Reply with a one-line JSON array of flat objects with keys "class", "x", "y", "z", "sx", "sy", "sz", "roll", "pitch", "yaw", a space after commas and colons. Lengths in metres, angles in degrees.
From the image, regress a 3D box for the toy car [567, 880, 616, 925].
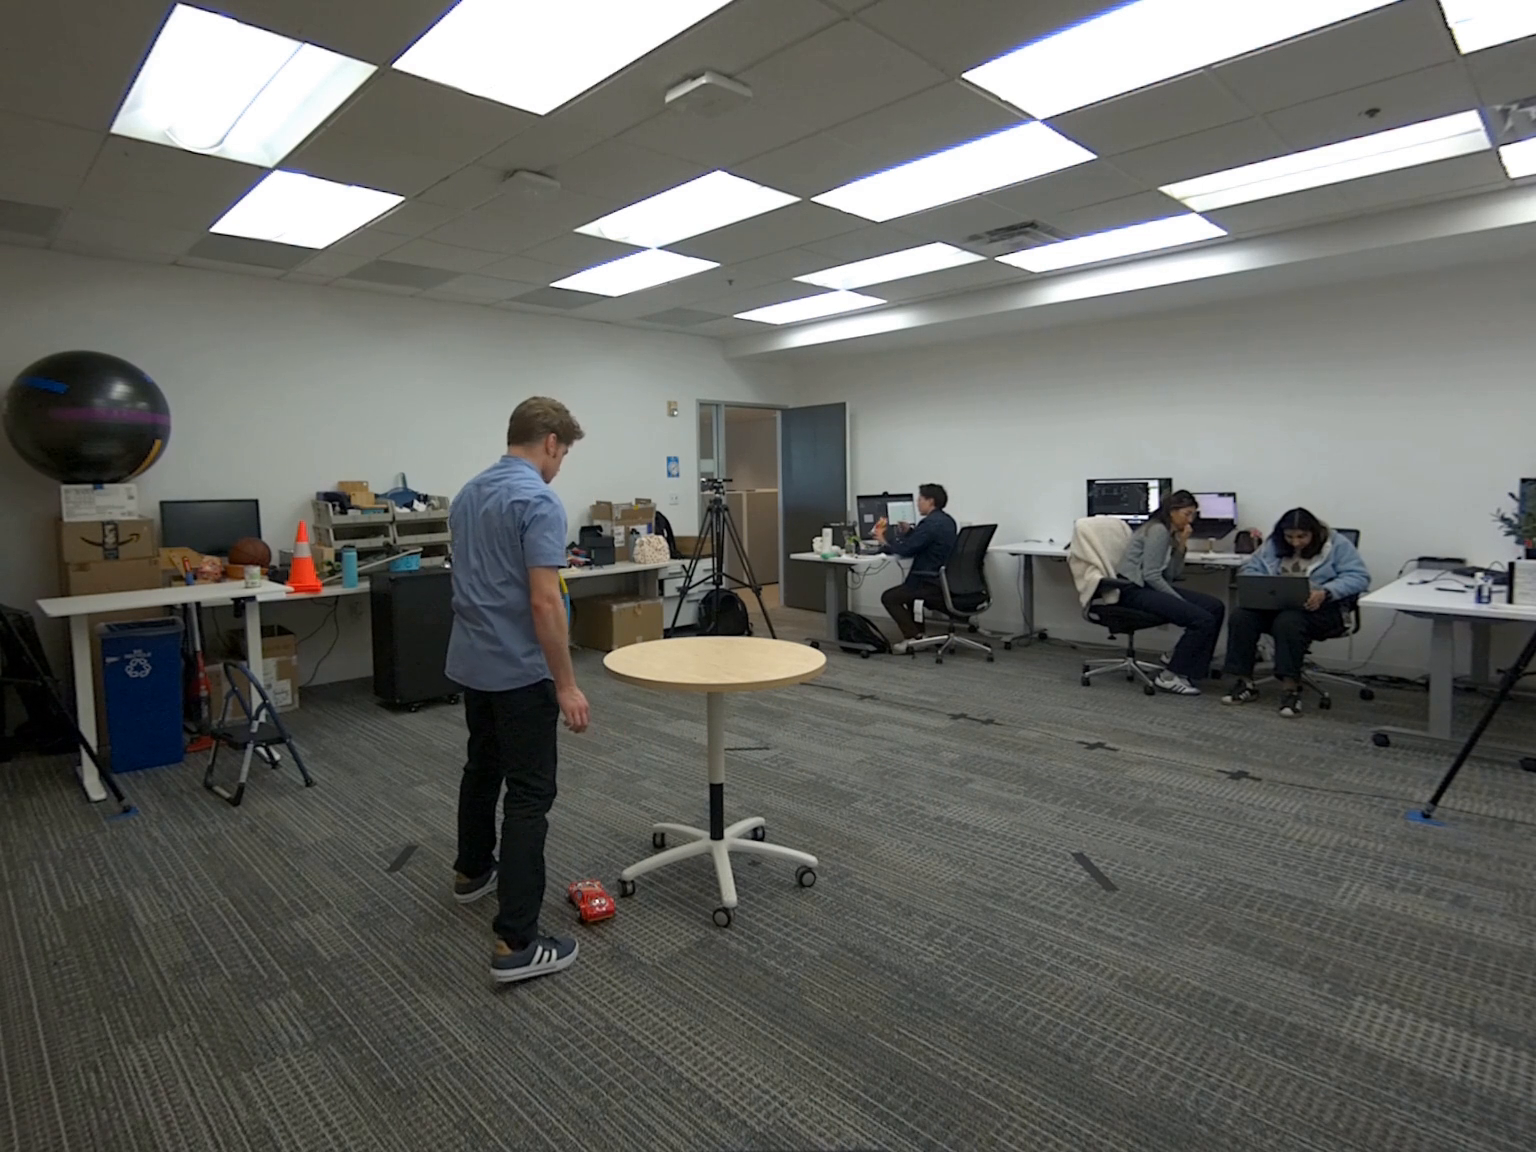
[{"class": "toy car", "x": -0.575, "y": 1.063, "z": 2.776, "sx": 0.128, "sy": 0.083, "sz": 0.259, "roll": -4, "pitch": -3, "yaw": -25}]
